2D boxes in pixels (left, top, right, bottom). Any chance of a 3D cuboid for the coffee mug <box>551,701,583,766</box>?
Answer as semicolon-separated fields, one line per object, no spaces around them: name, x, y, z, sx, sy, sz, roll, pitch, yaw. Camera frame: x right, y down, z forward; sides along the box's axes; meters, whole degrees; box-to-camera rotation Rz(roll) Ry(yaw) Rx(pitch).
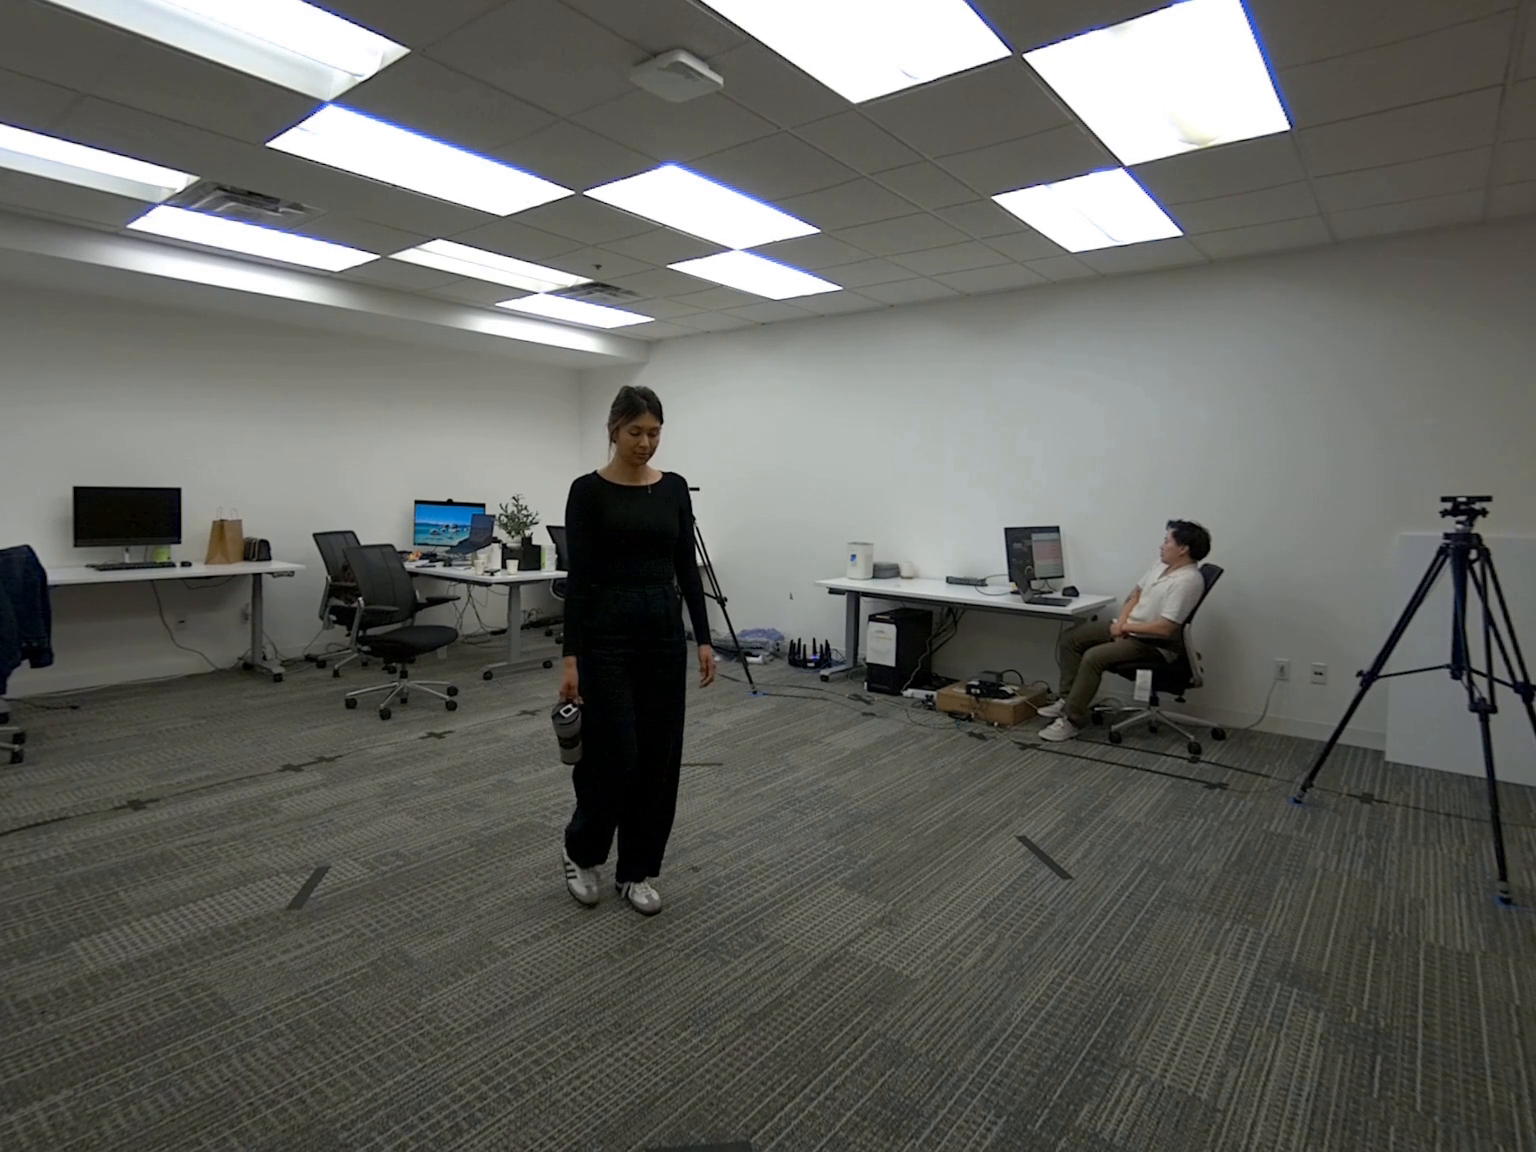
coffee mug;-0.645;0.478;2.614;0.087;0.197;0.127;-28;48;-27
